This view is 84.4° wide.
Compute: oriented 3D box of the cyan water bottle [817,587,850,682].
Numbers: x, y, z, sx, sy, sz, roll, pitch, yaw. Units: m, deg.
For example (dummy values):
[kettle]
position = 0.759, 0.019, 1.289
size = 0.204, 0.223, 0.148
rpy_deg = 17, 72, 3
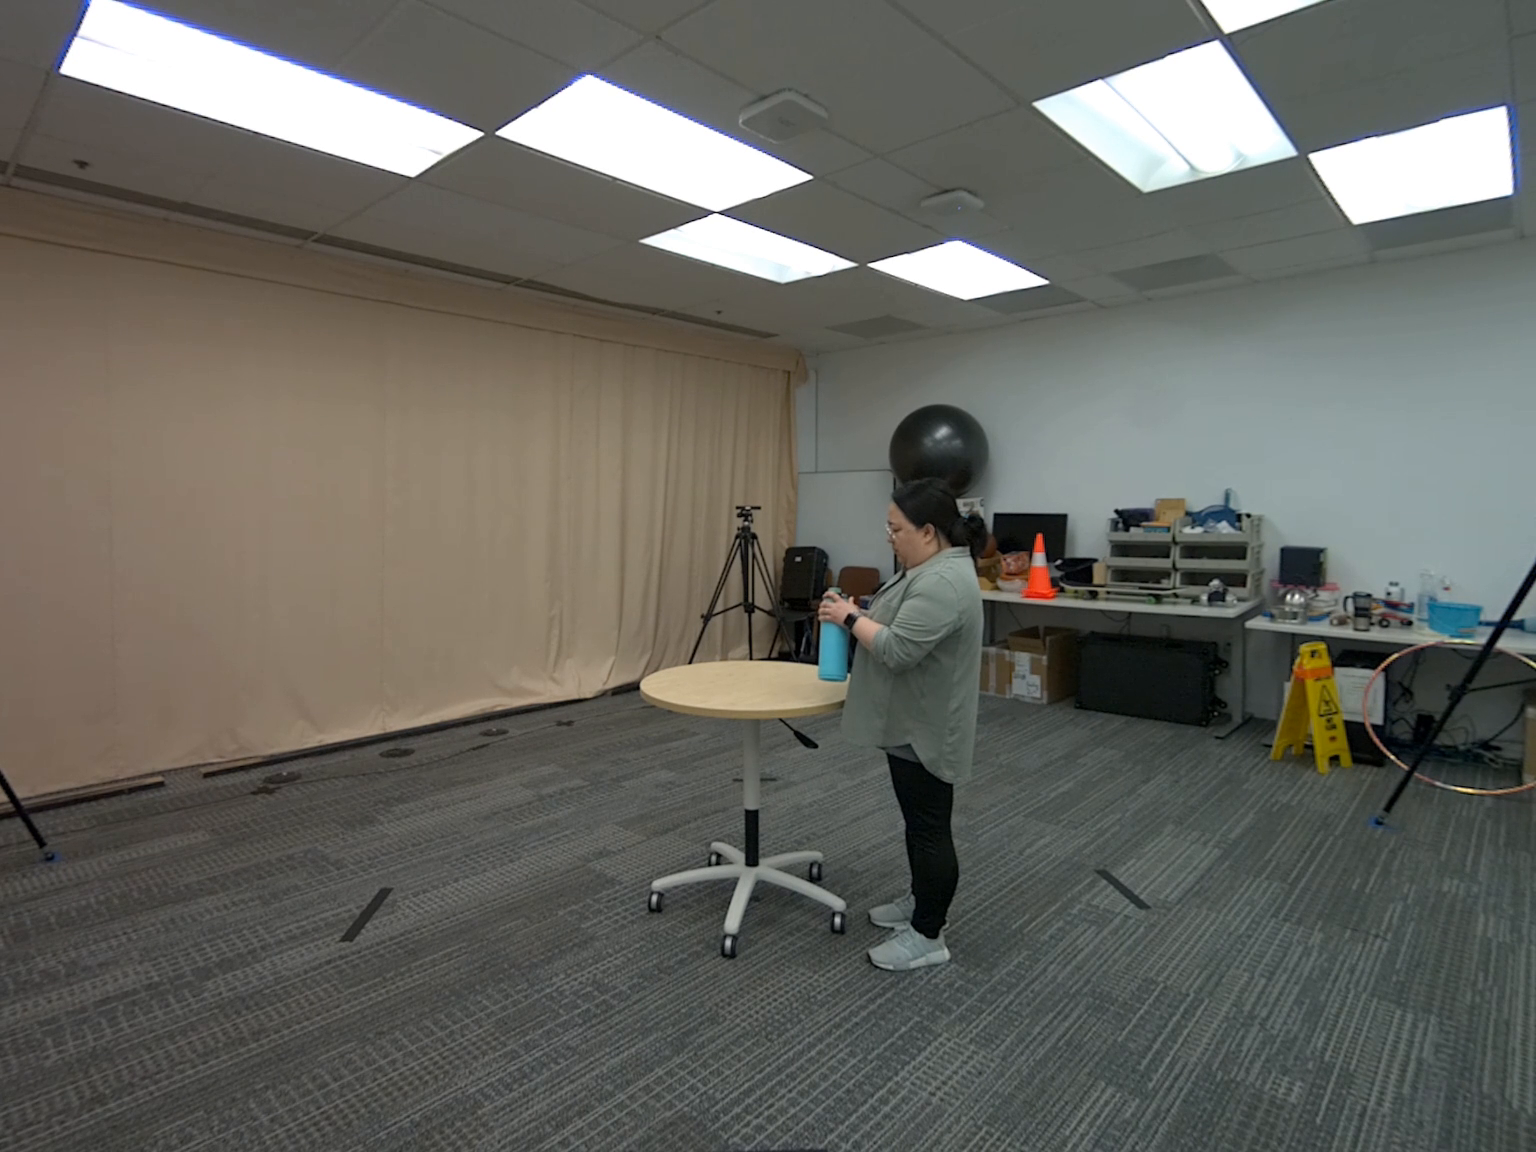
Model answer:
[cyan water bottle]
position = 0.223, 0.192, 2.604
size = 0.092, 0.285, 0.092
rpy_deg = 7, -9, -1
